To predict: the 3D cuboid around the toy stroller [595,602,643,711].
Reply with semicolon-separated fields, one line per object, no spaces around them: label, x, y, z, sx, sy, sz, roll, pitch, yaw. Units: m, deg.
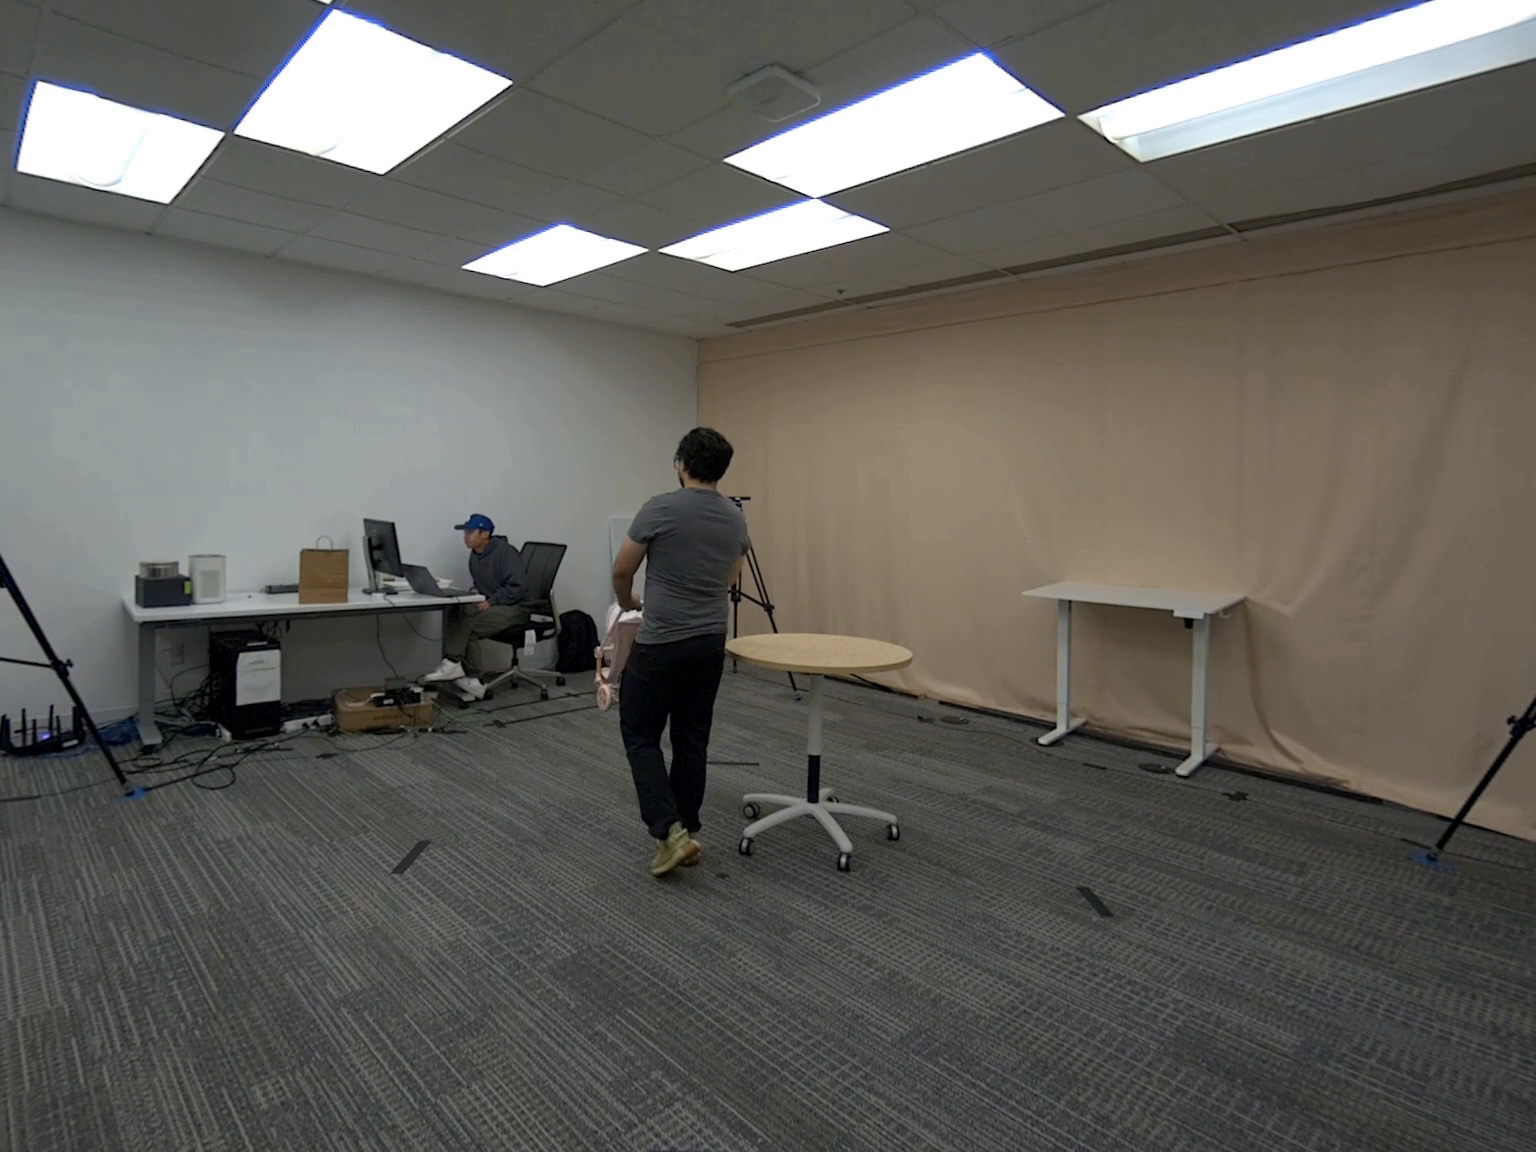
toy stroller;-0.616;0.334;3.624;0.275;0.533;0.350;7;8;-31
